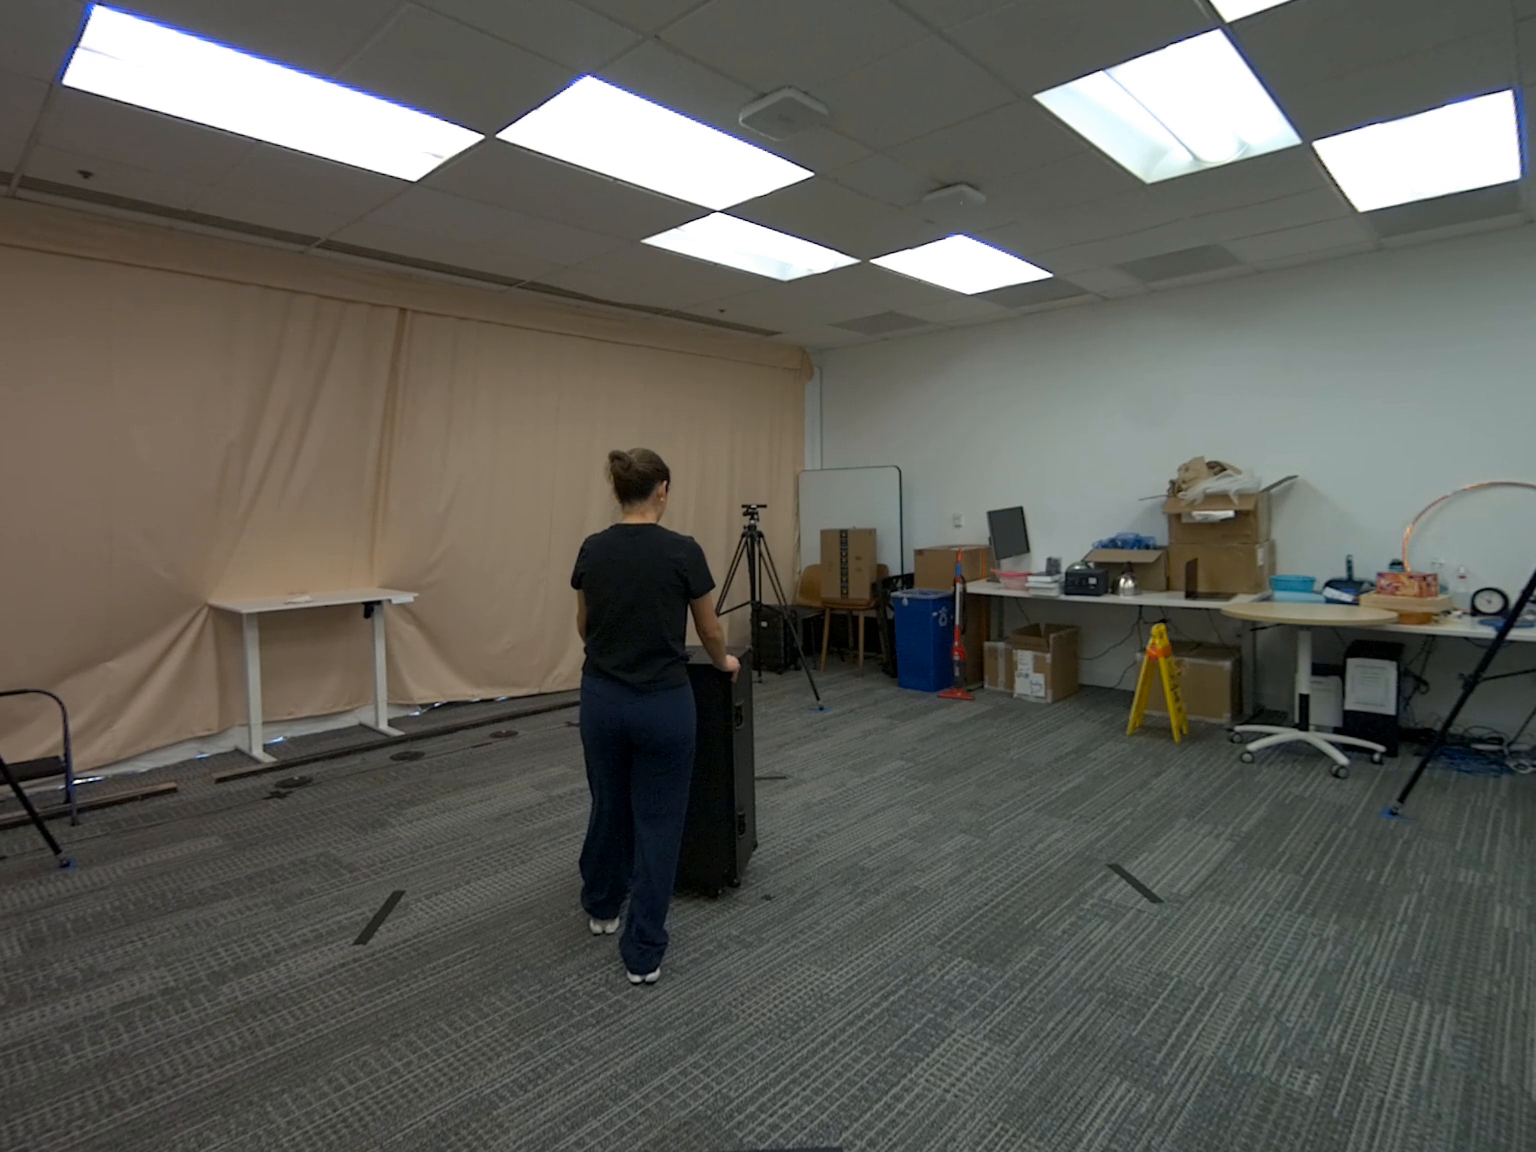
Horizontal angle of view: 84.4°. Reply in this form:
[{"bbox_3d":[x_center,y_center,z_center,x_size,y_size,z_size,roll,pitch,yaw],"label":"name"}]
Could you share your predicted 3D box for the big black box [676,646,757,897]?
[{"bbox_3d":[-0.304,0.702,3.127,0.529,0.860,0.391,-1,3,13],"label":"big black box"}]
